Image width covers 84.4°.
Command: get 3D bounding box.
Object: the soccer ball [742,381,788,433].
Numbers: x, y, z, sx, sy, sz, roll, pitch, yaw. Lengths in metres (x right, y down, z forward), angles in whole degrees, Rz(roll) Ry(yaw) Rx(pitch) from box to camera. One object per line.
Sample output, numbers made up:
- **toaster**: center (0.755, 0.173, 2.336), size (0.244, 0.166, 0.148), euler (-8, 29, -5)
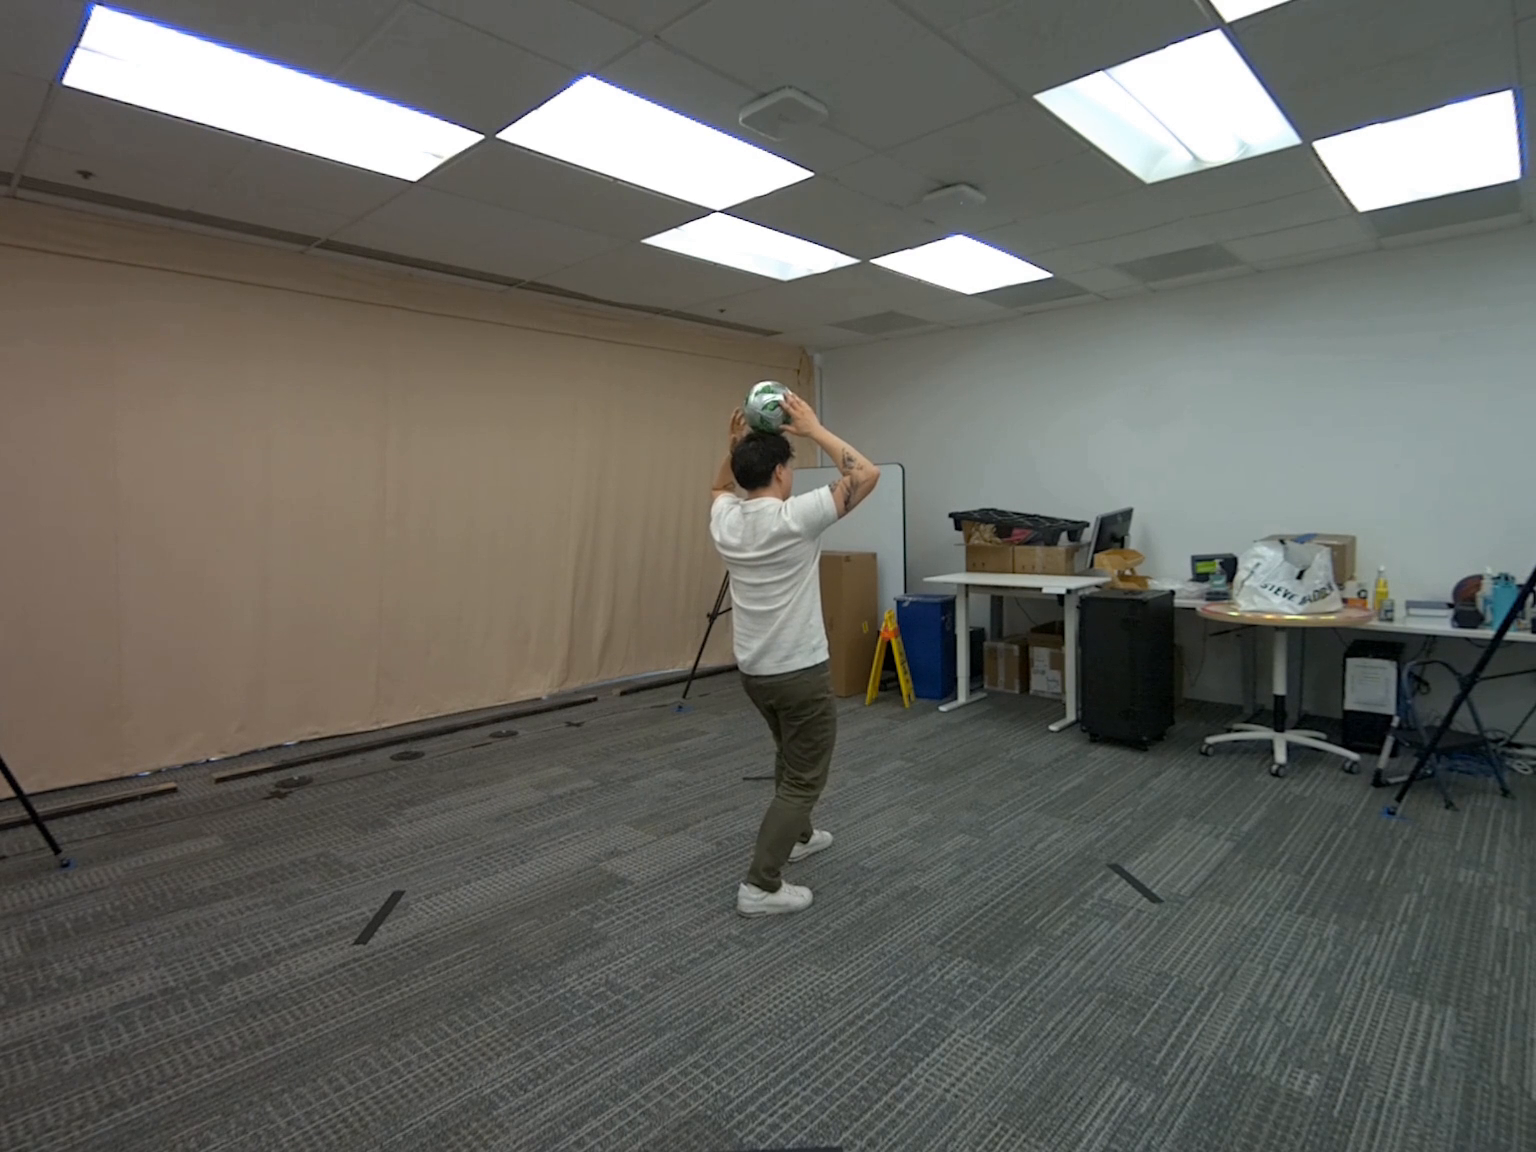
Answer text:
- **soccer ball**: center (0.004, -0.575, 2.913), size (0.187, 0.187, 0.188), euler (-1, 4, -2)
